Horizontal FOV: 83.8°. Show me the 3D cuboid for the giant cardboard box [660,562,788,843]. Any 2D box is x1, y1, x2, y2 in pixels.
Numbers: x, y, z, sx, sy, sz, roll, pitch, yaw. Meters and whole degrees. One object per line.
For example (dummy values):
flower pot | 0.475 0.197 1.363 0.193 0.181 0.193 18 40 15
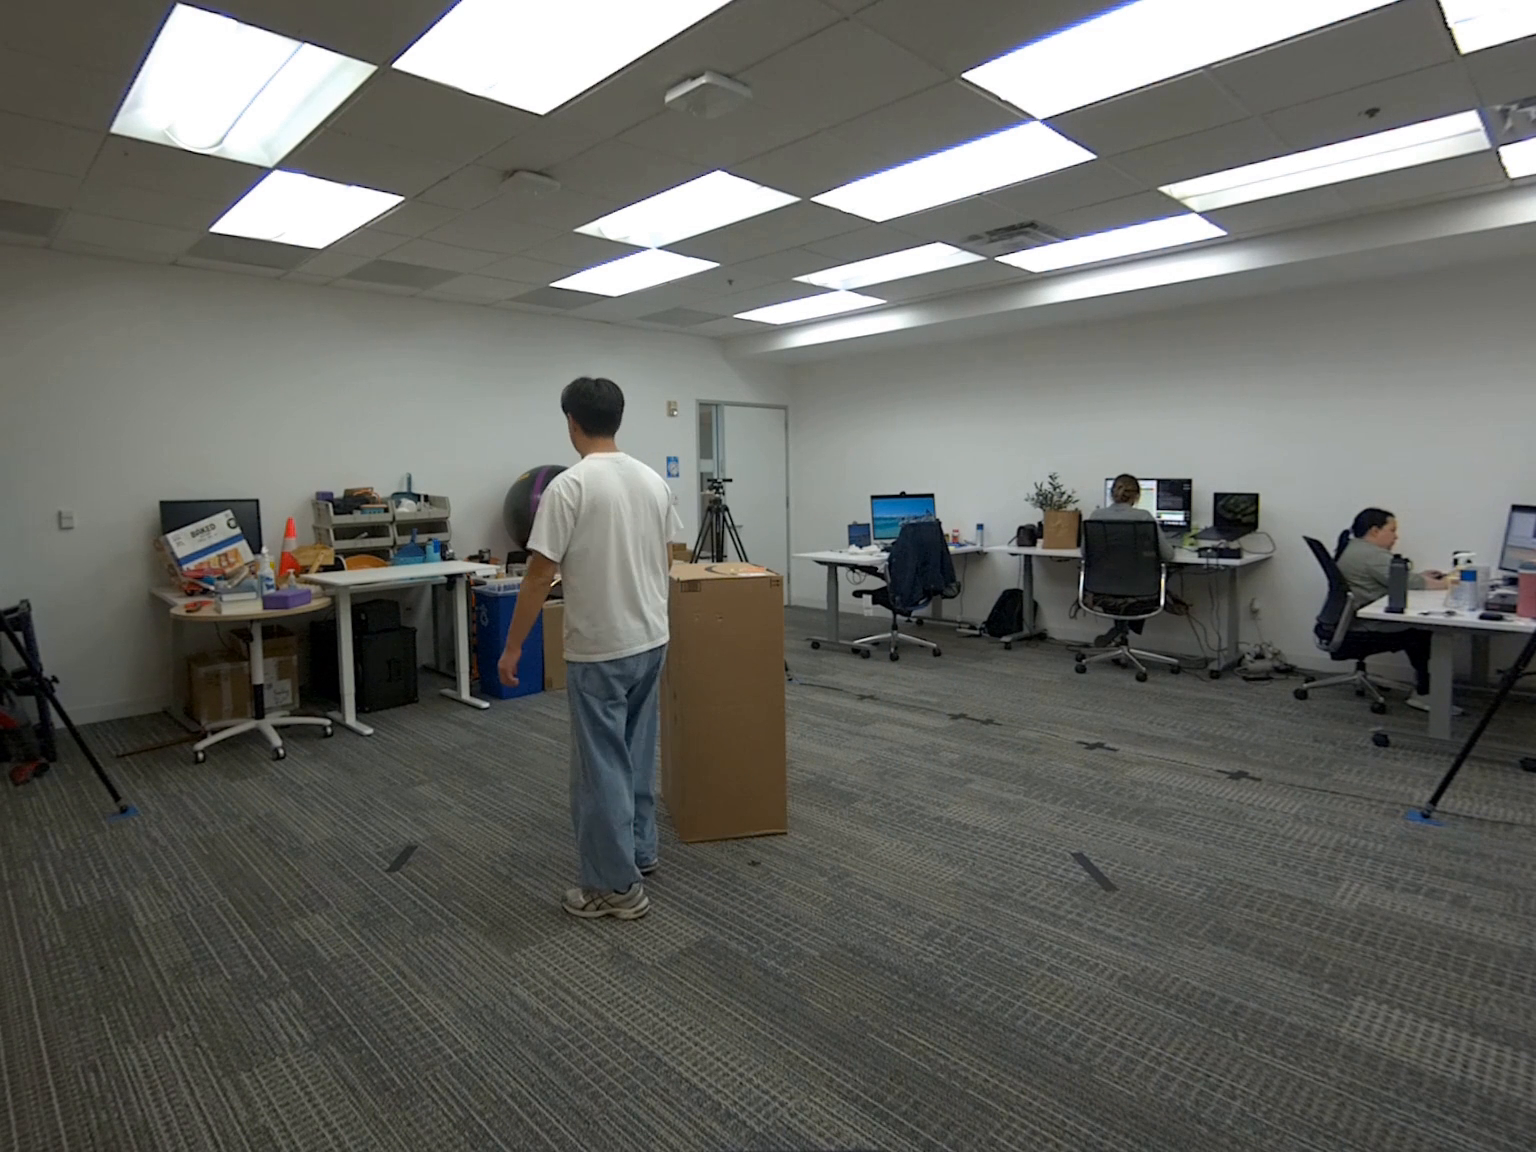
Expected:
giant cardboard box | -0.205 0.486 3.573 0.420 1.023 0.587 -2 4 -16
